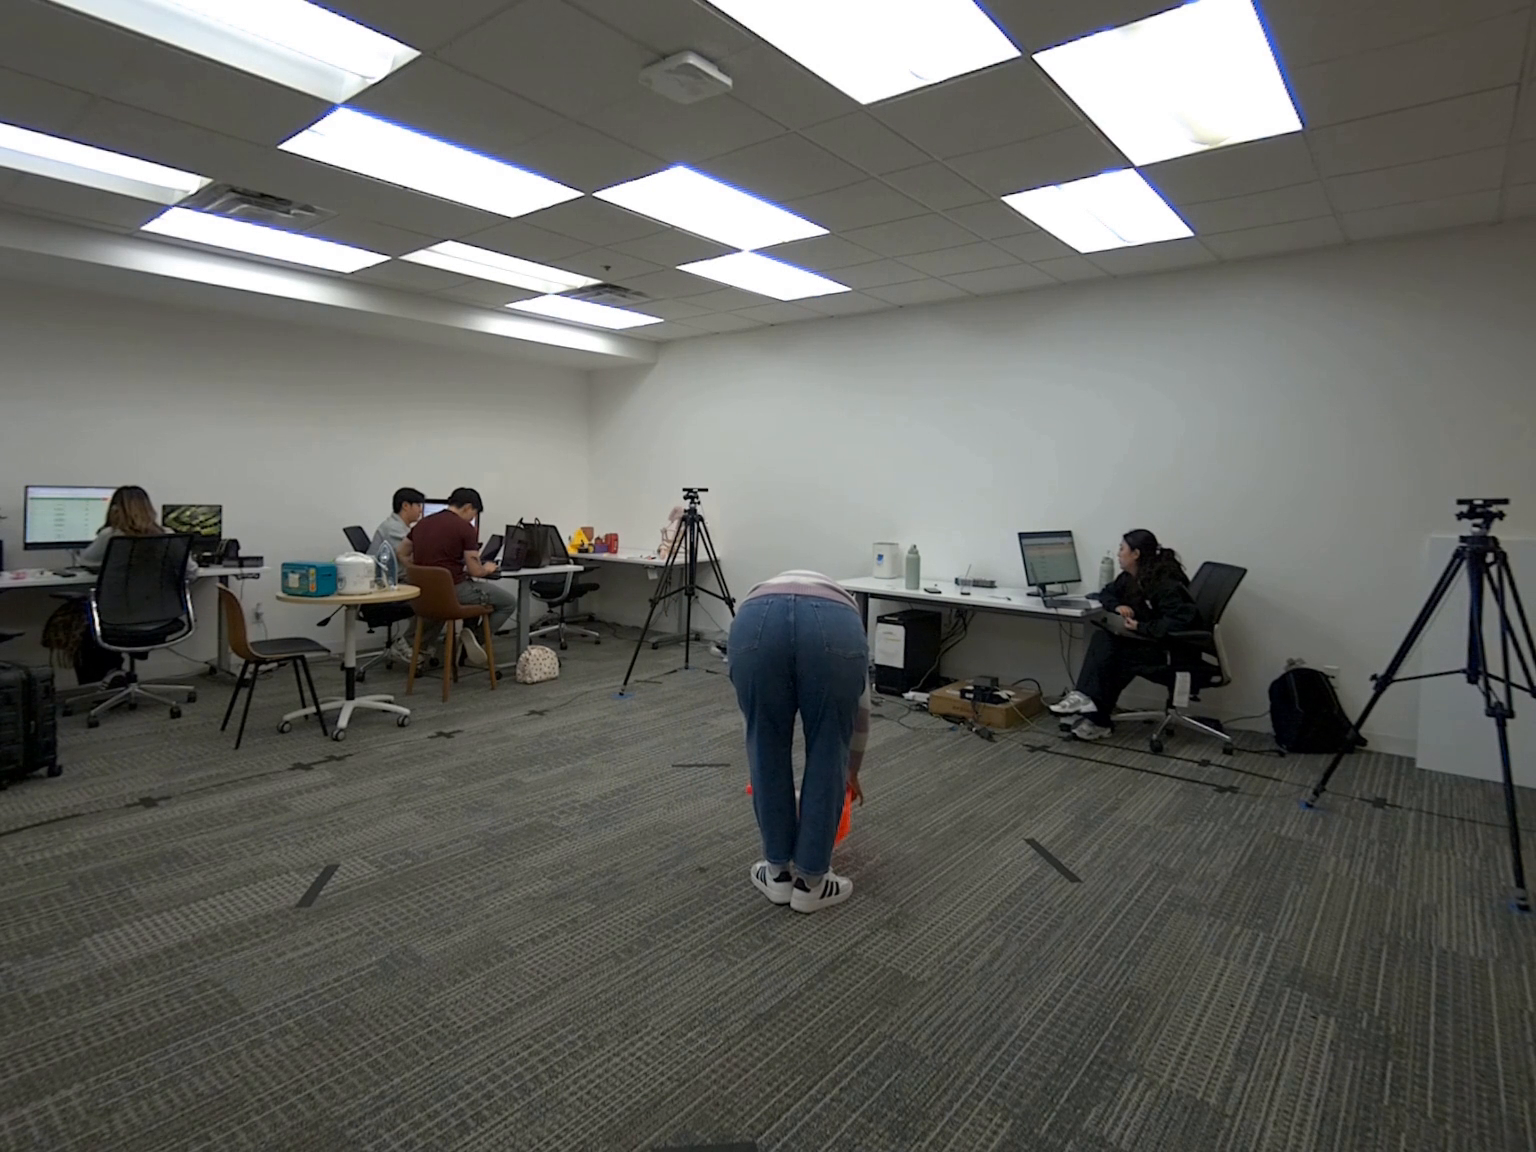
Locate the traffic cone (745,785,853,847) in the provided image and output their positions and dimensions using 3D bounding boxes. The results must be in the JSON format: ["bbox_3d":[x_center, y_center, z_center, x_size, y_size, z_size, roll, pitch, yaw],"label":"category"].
[{"bbox_3d":[0.089,0.864,3.224,0.380,0.202,0.207,19,45,-7],"label":"traffic cone"}]
